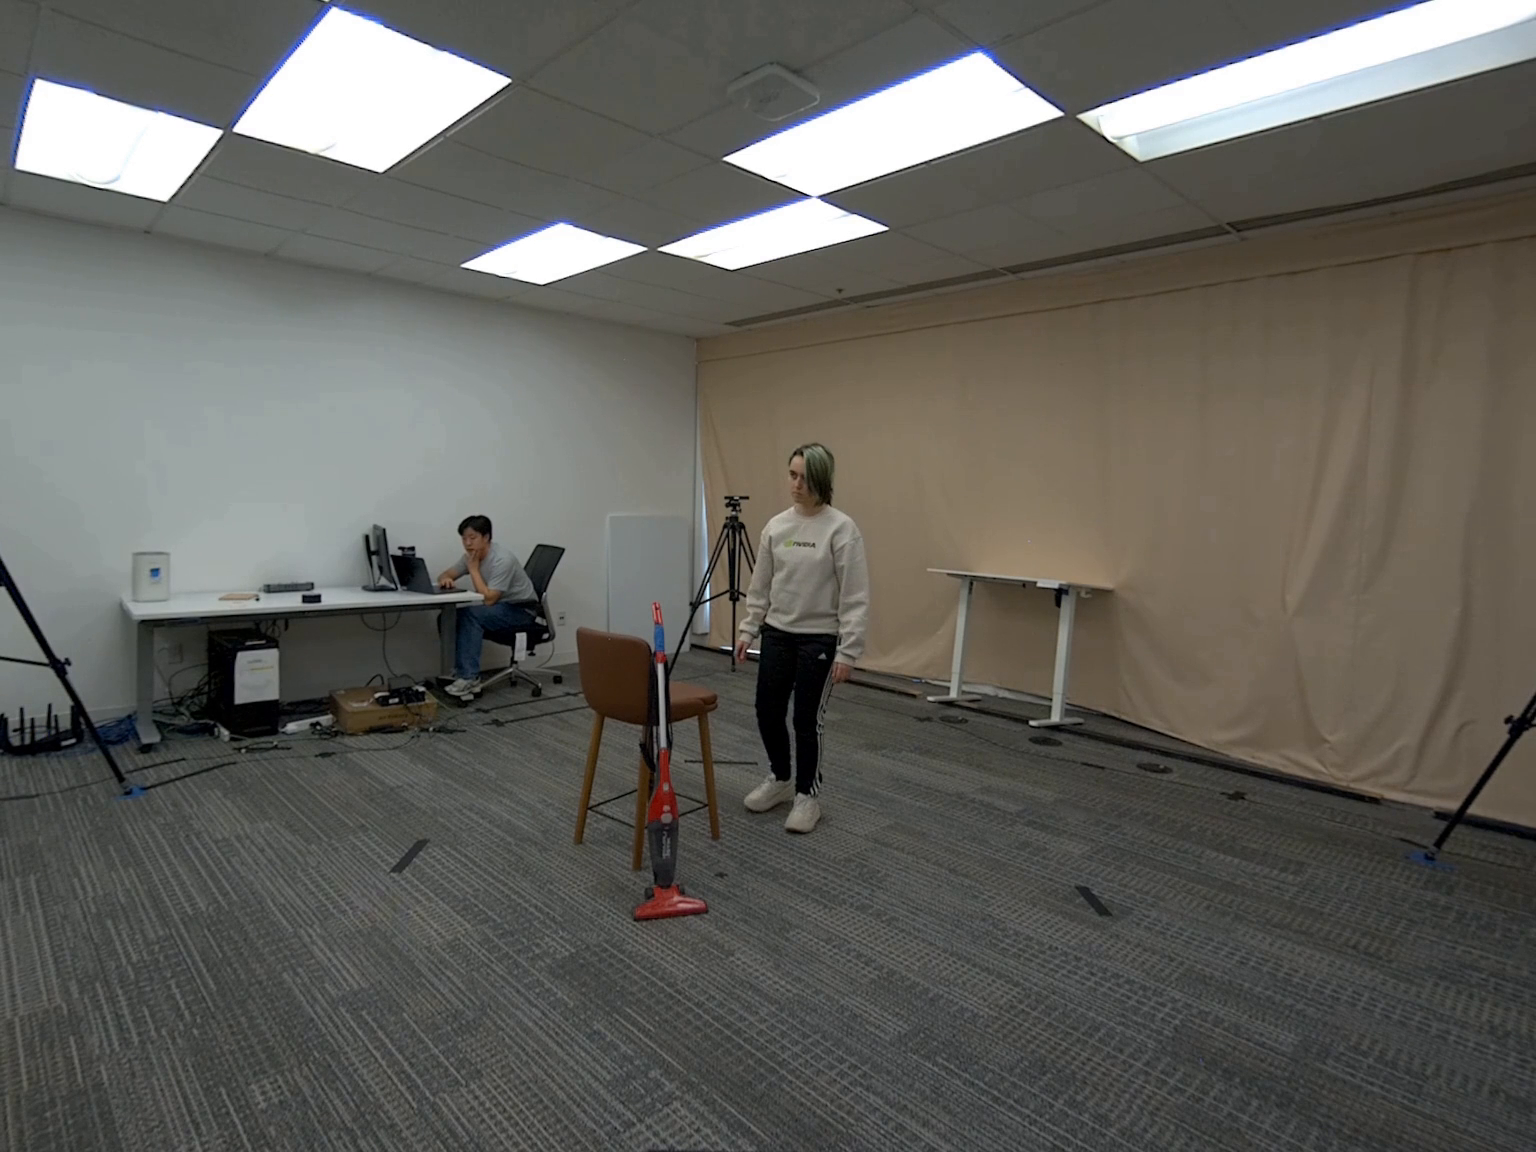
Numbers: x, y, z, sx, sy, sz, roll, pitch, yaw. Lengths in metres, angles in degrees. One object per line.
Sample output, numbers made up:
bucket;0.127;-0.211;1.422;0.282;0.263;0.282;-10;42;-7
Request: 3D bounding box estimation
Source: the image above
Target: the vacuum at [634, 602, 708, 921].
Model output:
vacuum;-0.386;0.618;2.995;0.249;1.063;0.144;0;-17;-16
